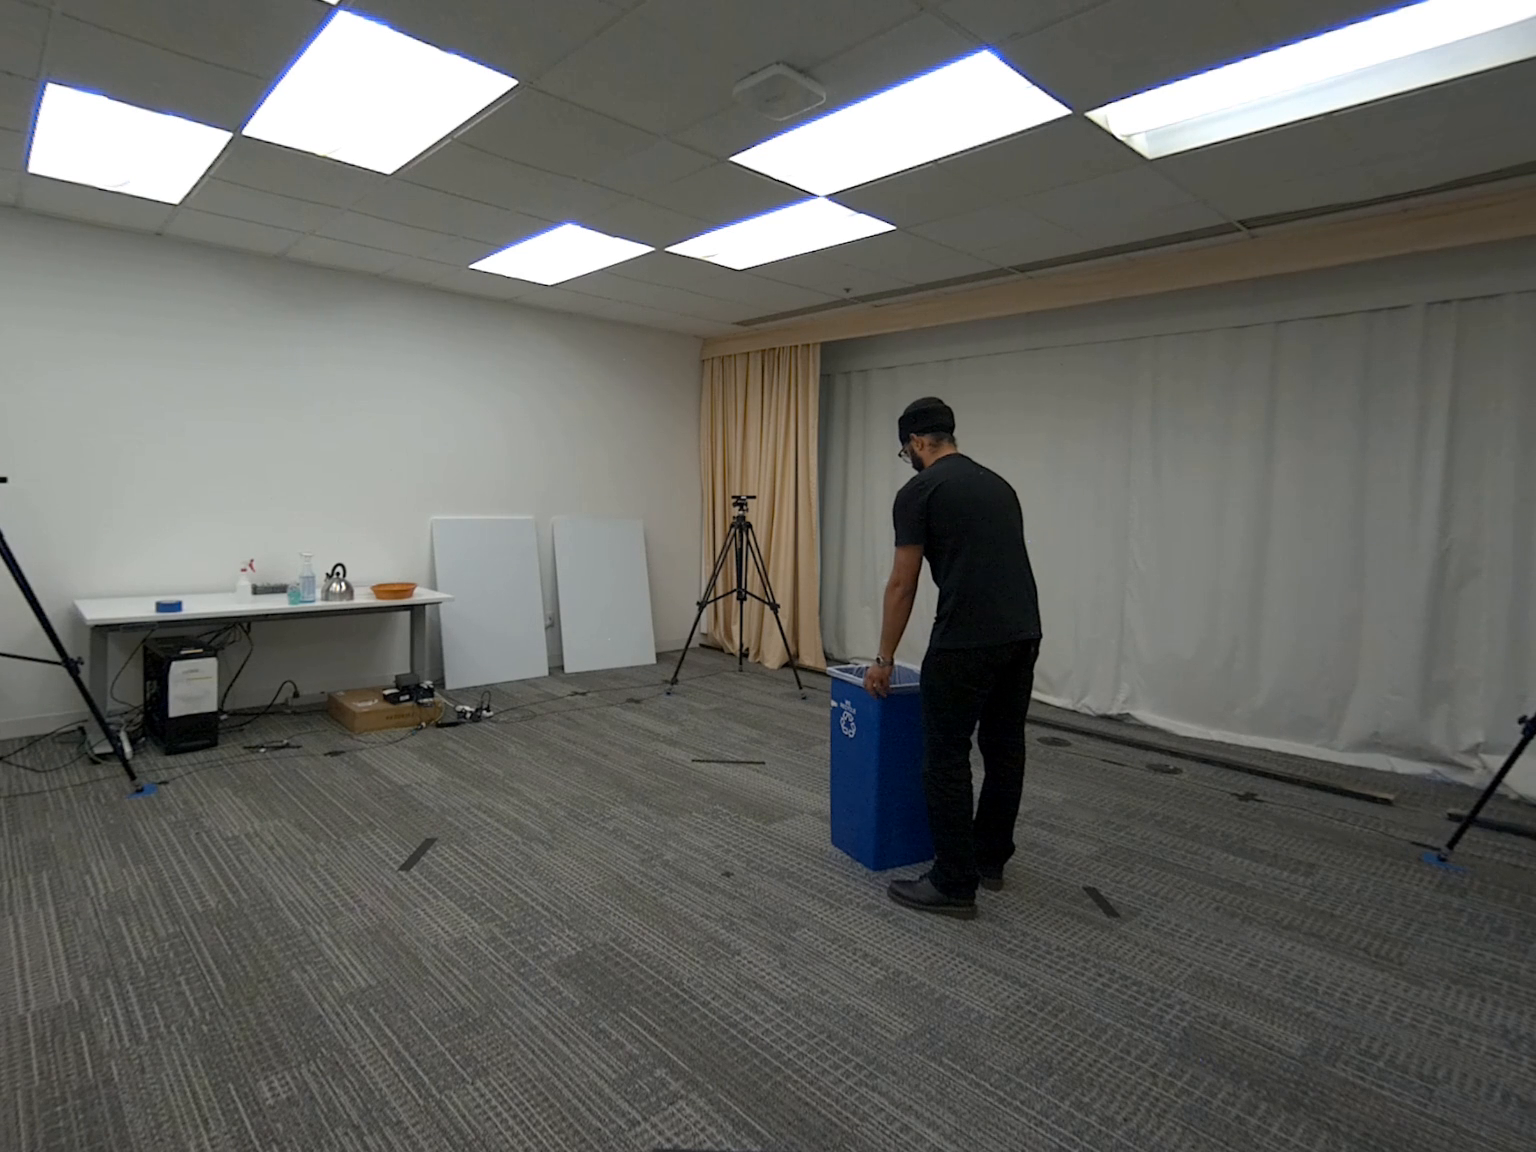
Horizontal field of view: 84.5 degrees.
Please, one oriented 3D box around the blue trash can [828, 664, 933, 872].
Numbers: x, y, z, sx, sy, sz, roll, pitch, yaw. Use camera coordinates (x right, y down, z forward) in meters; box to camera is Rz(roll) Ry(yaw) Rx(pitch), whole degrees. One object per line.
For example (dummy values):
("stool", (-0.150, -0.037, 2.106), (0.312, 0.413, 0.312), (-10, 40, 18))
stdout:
("blue trash can", (0.464, 0.736, 3.324), (0.370, 0.712, 0.382), (0, 4, -29))
